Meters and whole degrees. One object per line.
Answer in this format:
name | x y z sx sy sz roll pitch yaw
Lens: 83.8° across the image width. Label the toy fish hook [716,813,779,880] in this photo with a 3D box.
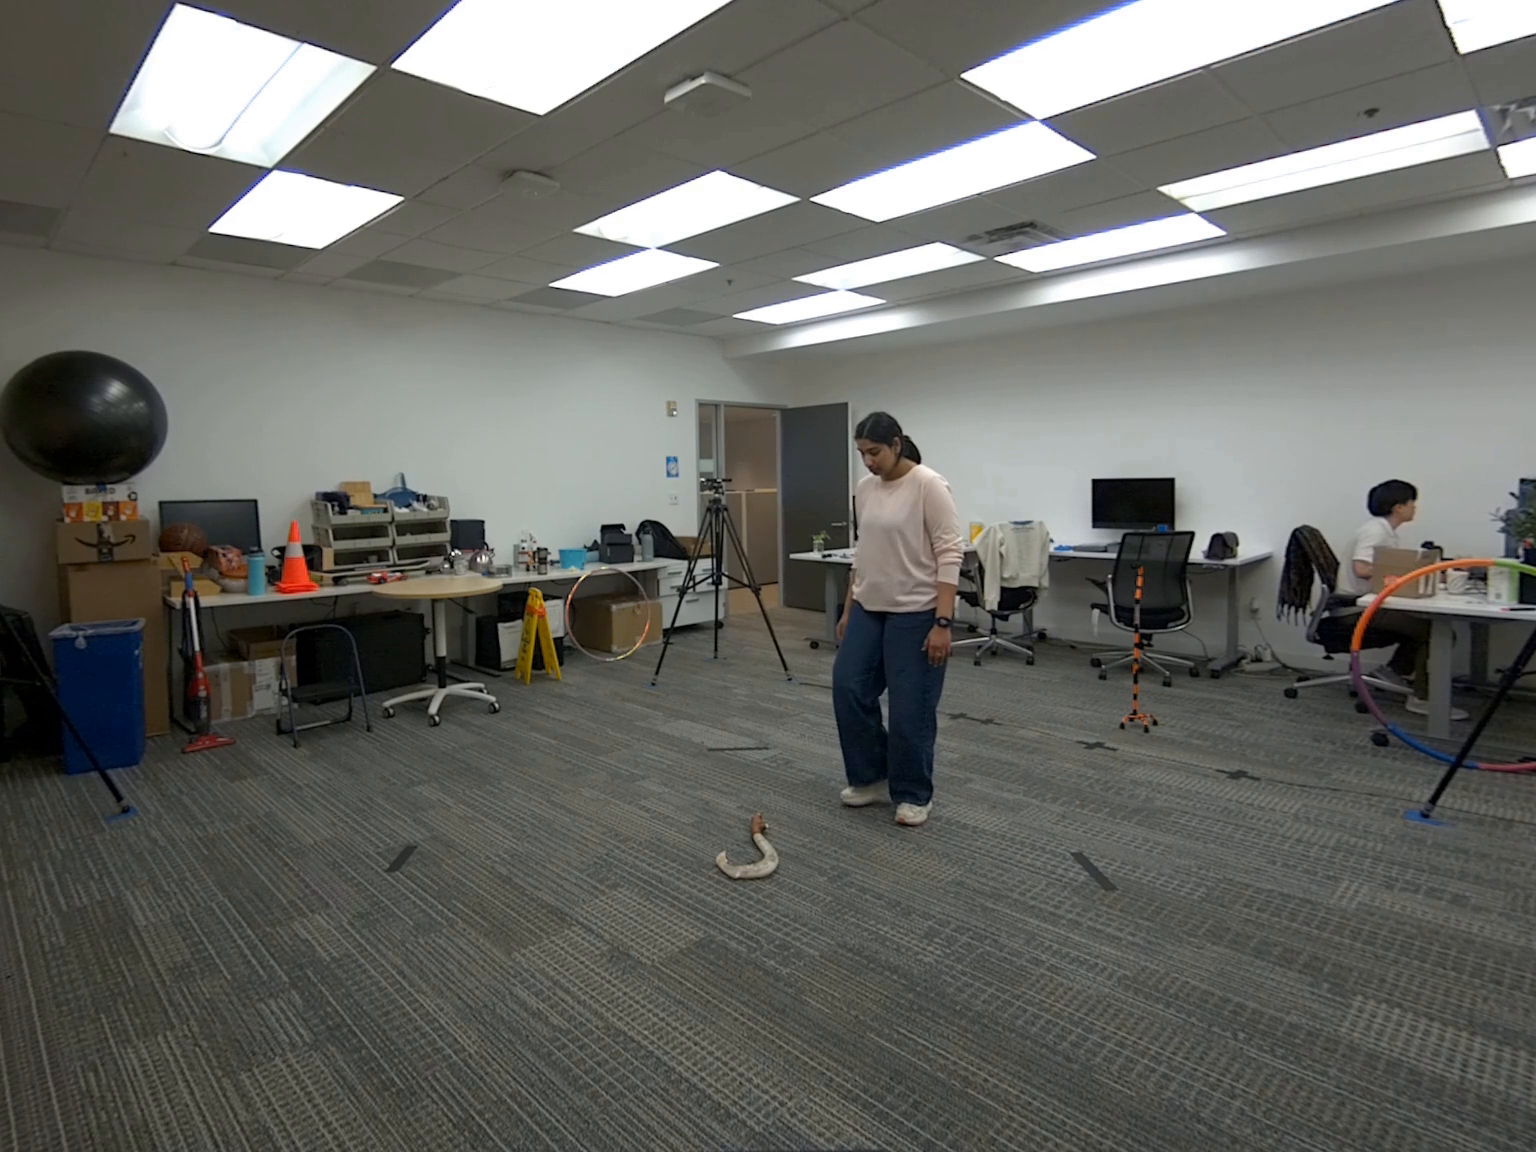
toy fish hook | -0.082 1.007 3.221 0.224 0.048 0.510 -1 6 -3
